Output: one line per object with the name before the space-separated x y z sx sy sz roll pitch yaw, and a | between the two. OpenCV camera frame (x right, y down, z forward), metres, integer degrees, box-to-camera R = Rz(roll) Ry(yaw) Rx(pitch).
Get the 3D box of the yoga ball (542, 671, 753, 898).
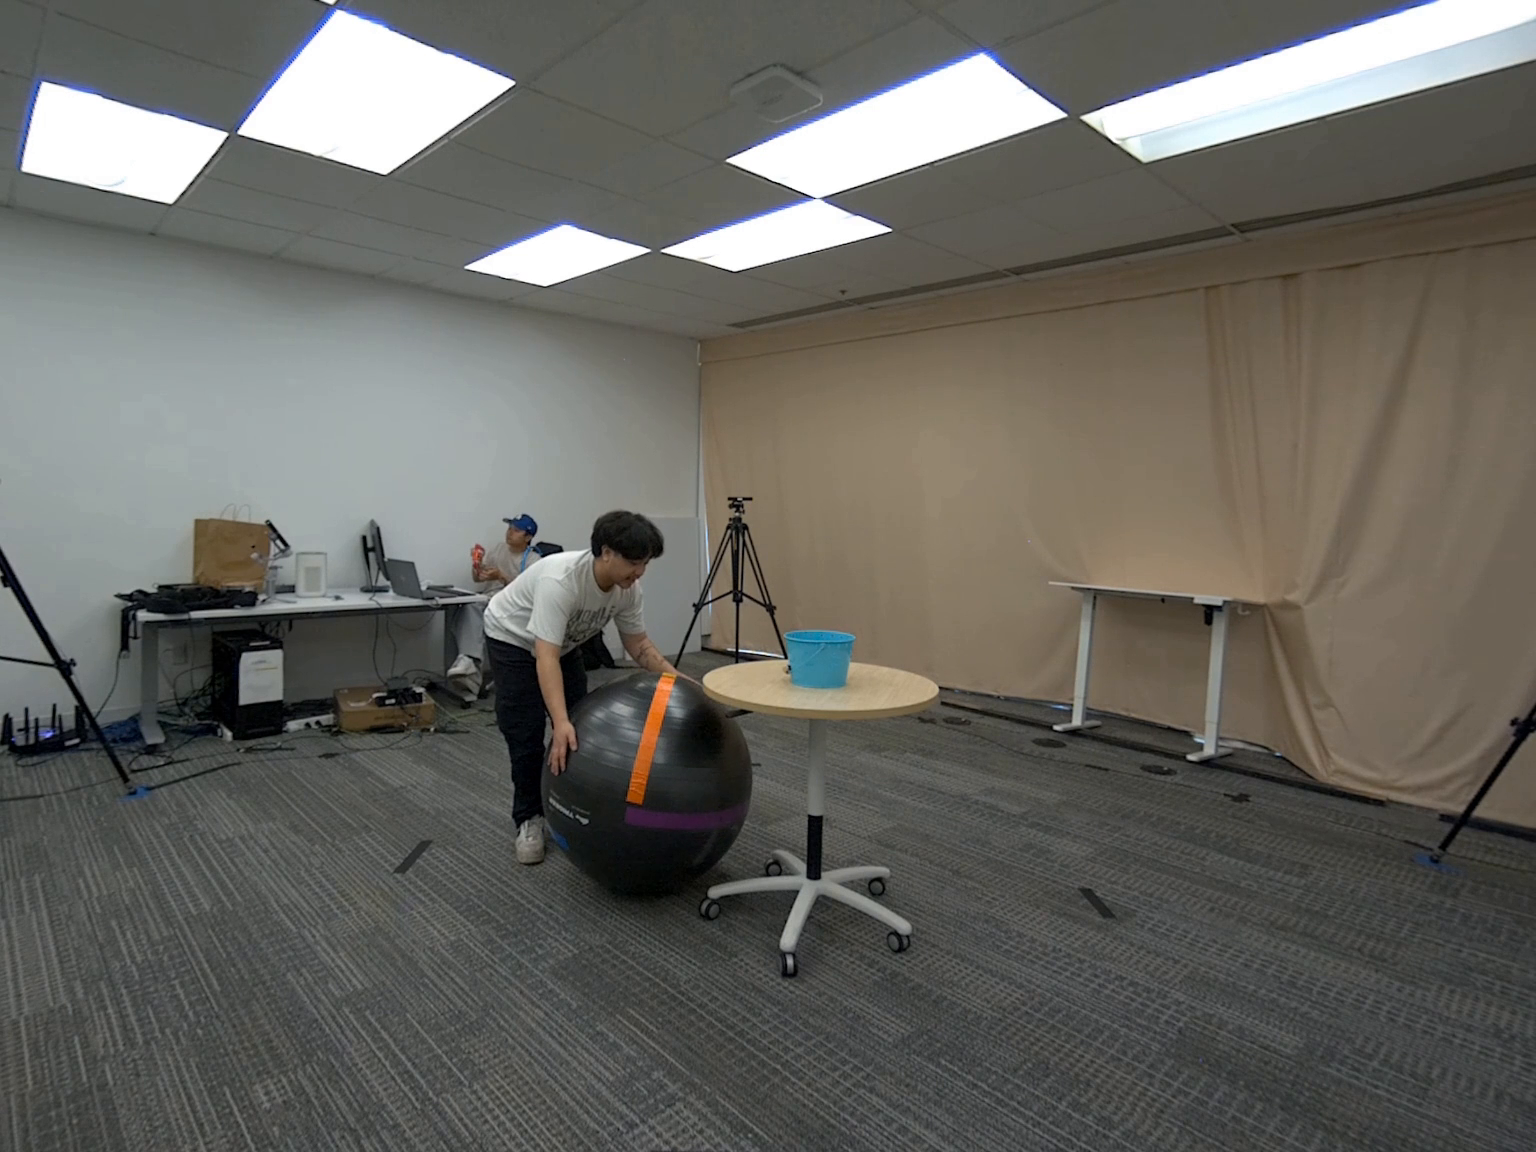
yoga ball | -0.441 0.746 3.032 0.757 0.756 0.760 1 4 -1
